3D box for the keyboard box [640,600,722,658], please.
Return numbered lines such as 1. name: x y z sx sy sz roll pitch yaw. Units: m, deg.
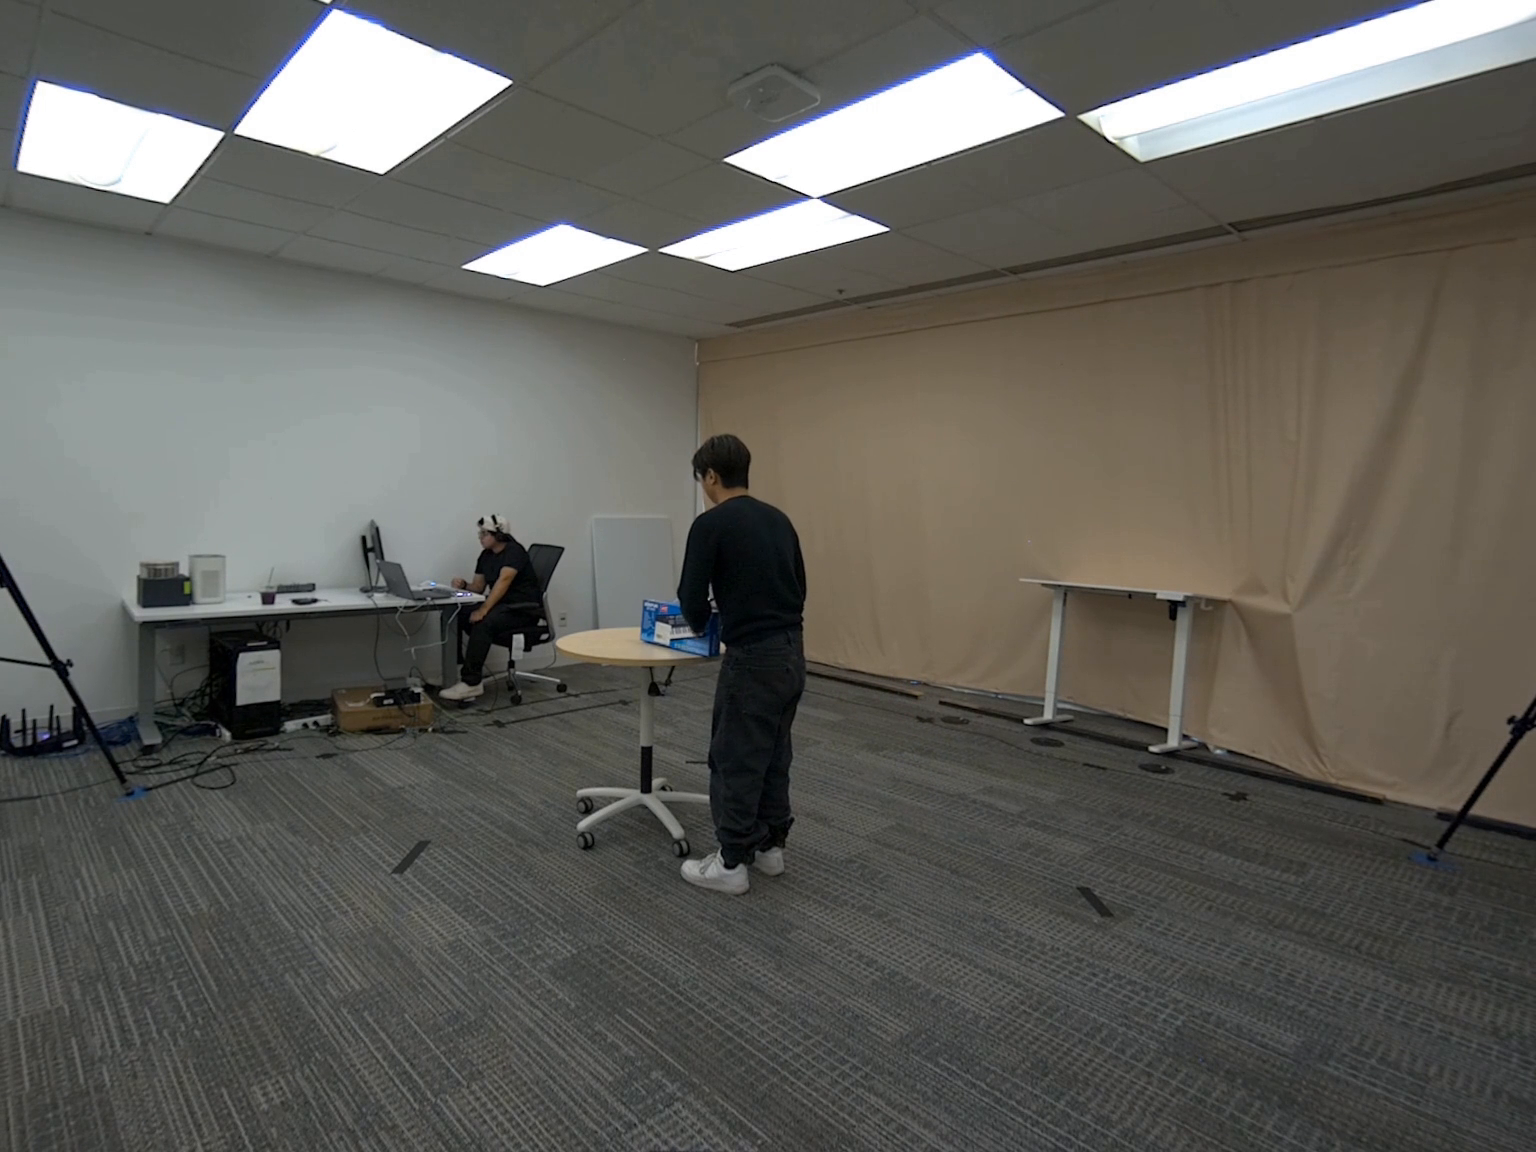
1. keyboard box: -0.362 0.208 3.384 0.058 0.175 0.448 1 4 -44
